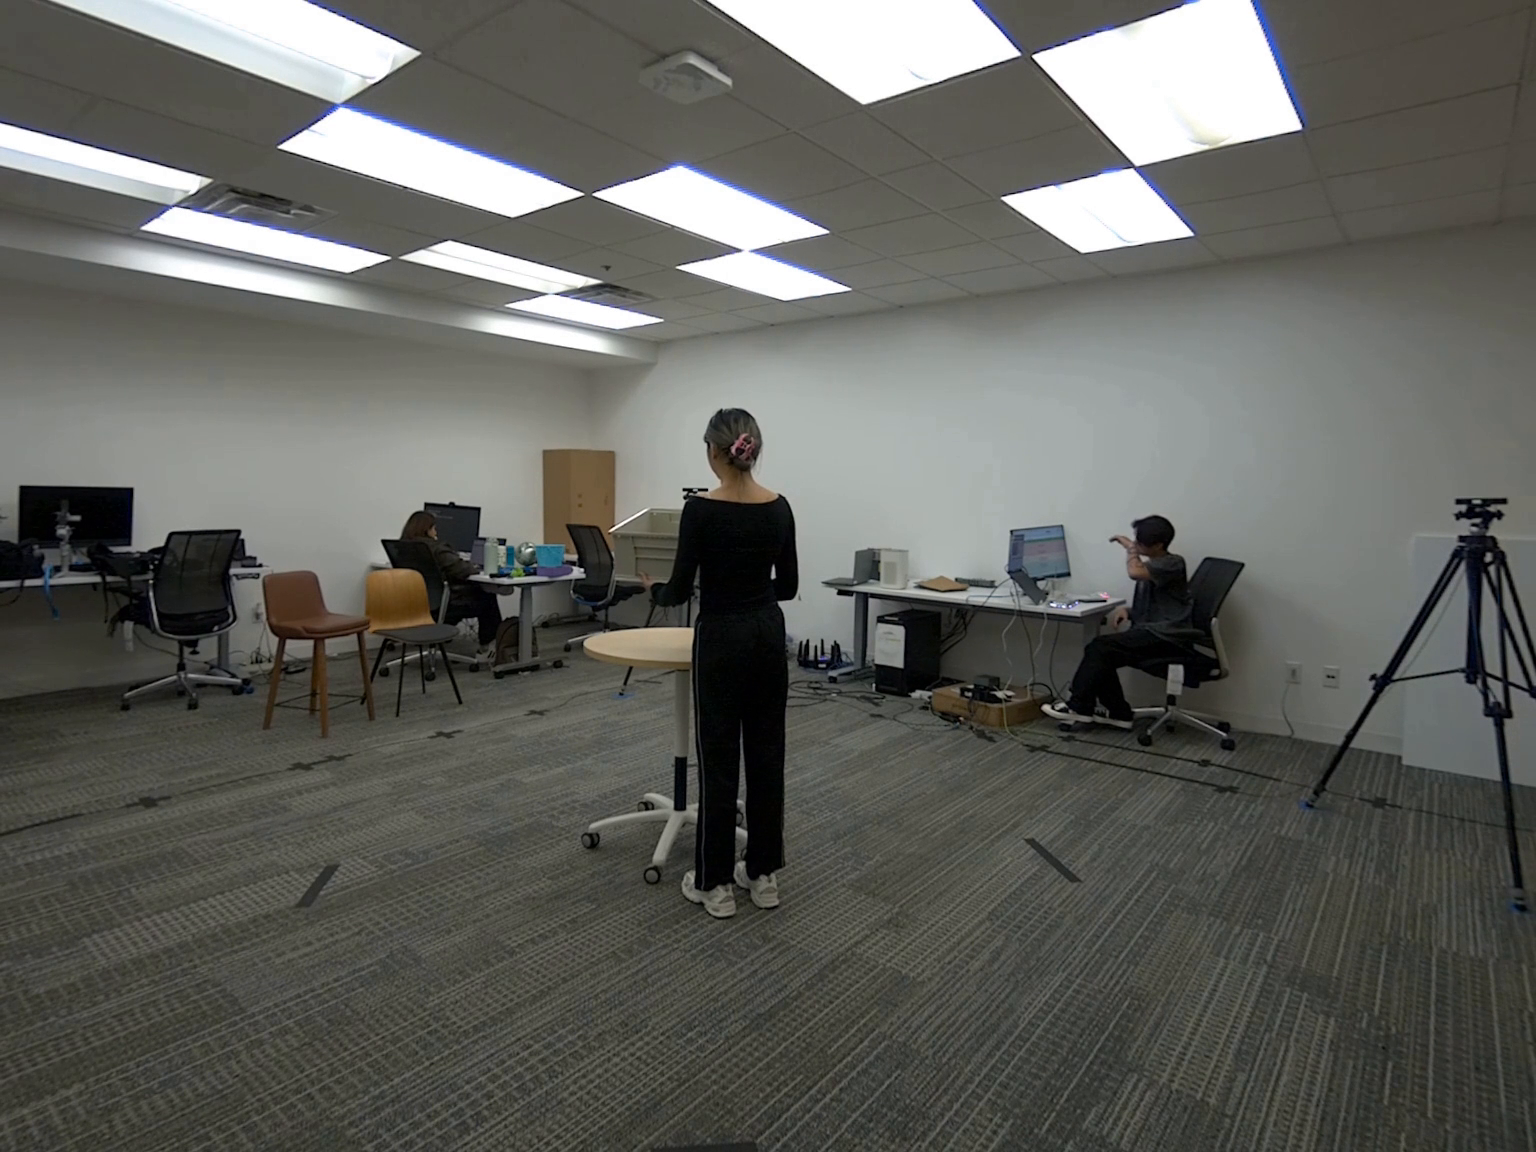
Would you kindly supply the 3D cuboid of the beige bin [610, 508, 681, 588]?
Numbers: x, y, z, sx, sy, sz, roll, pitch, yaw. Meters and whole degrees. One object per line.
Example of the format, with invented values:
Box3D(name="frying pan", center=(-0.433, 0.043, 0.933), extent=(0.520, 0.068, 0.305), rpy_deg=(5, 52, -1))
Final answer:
Box3D(name="beige bin", center=(-0.348, -0.118, 3.152), extent=(0.383, 0.186, 0.422), rpy_deg=(2, 17, 14))
